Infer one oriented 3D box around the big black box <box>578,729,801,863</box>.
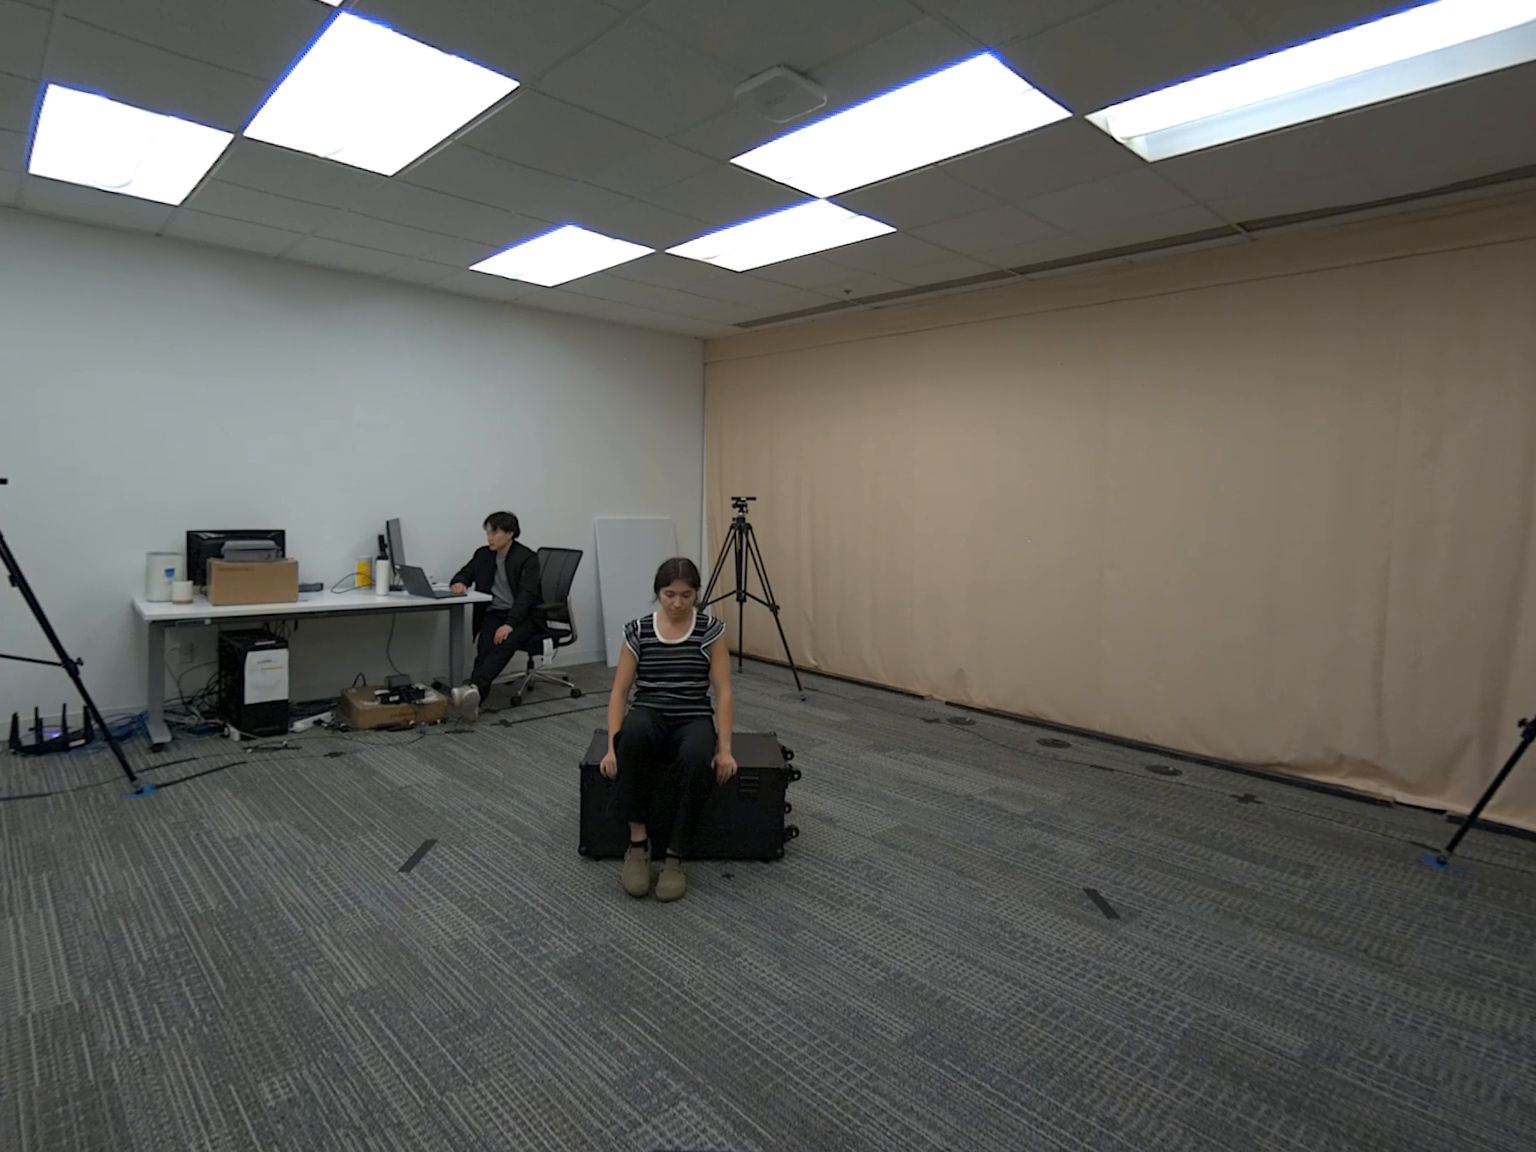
[{"bbox_3d":[-0.315,0.879,3.432,0.859,0.395,0.524,1,4,-4],"label":"big black box"}]
